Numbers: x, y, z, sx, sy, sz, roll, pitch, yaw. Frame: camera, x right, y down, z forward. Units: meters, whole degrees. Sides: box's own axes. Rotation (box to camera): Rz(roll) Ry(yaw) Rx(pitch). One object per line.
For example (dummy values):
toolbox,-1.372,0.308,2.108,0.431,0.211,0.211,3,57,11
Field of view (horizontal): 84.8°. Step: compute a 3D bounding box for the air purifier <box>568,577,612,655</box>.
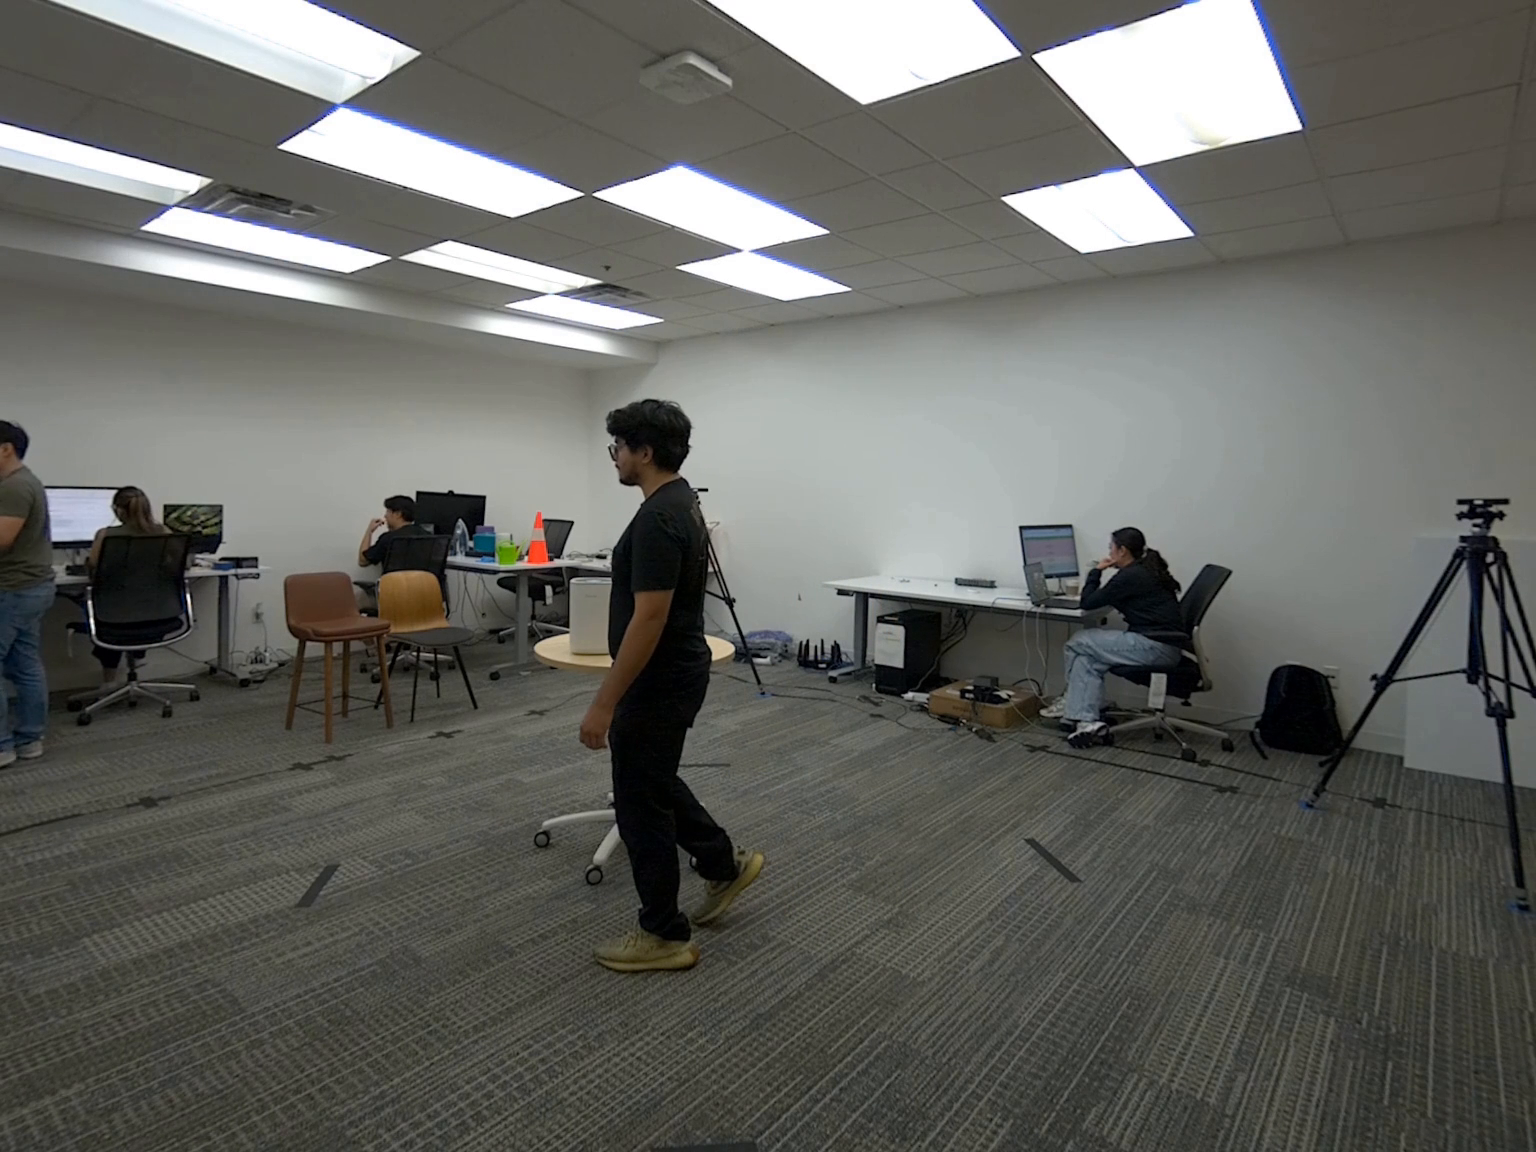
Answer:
air purifier,-0.656,0.142,3.151,0.171,0.264,0.172,3,4,-2
